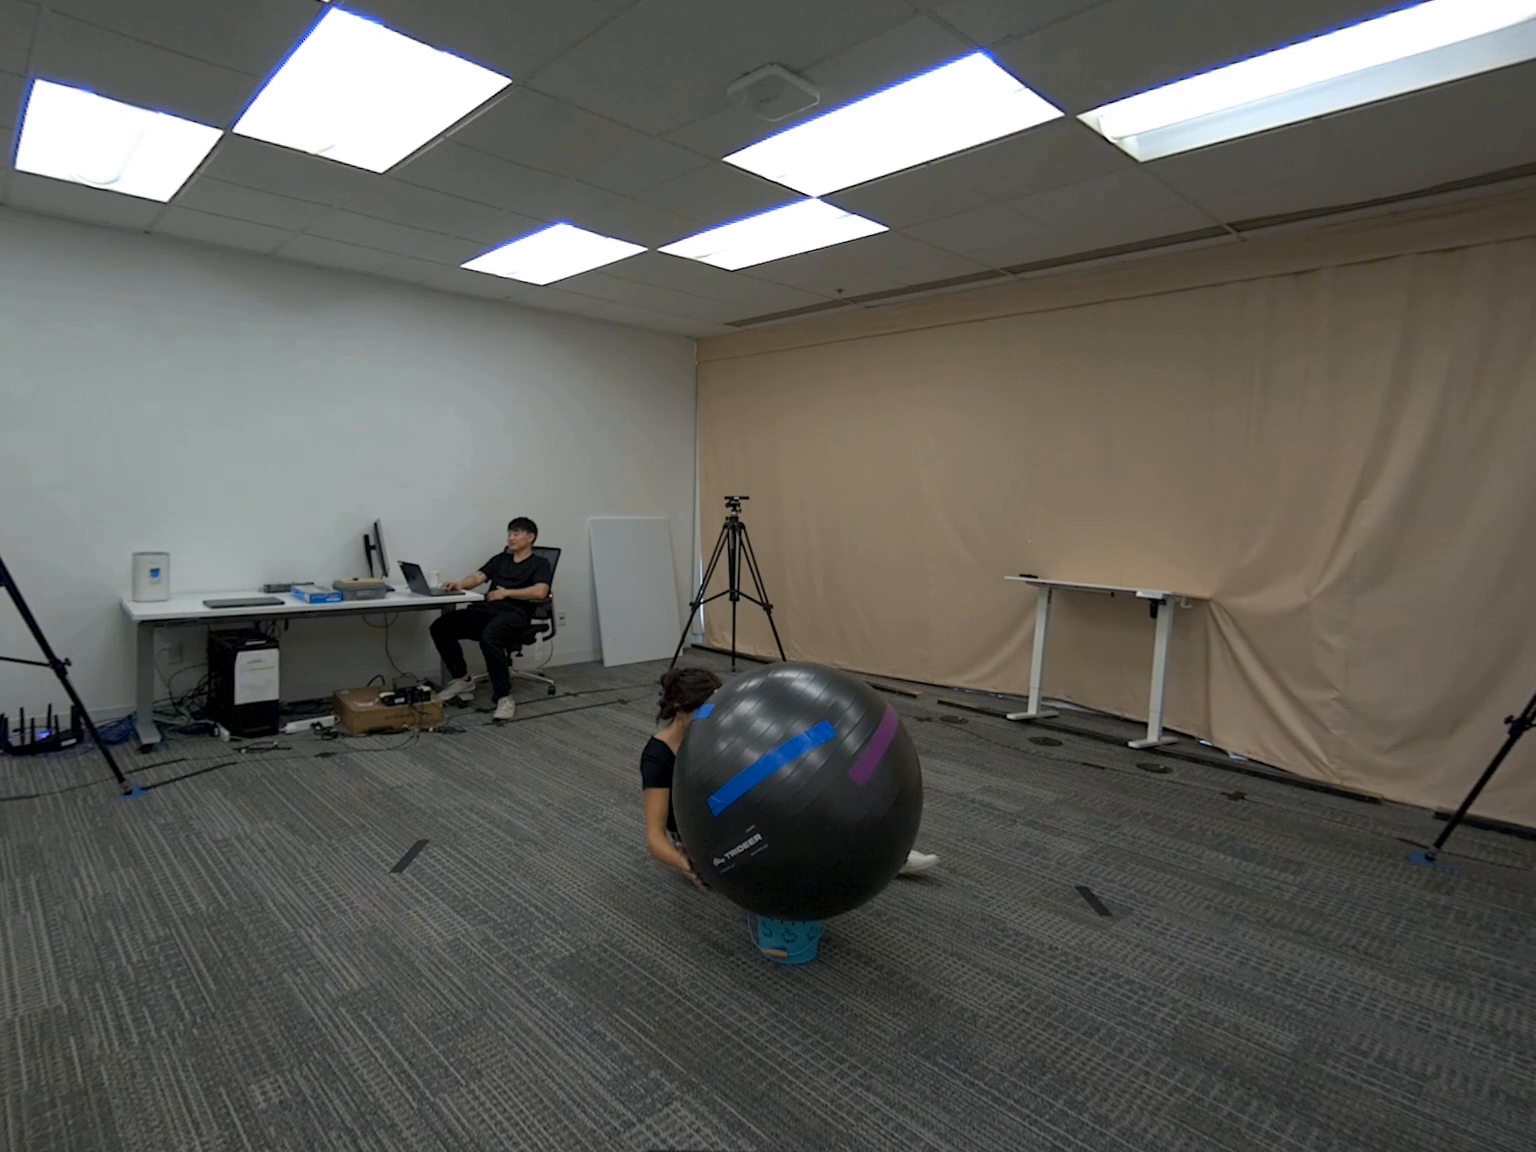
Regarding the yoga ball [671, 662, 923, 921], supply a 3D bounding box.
[{"bbox_3d":[0.090,0.653,2.556,0.757,0.756,0.761,1,4,-1],"label":"yoga ball"}]
